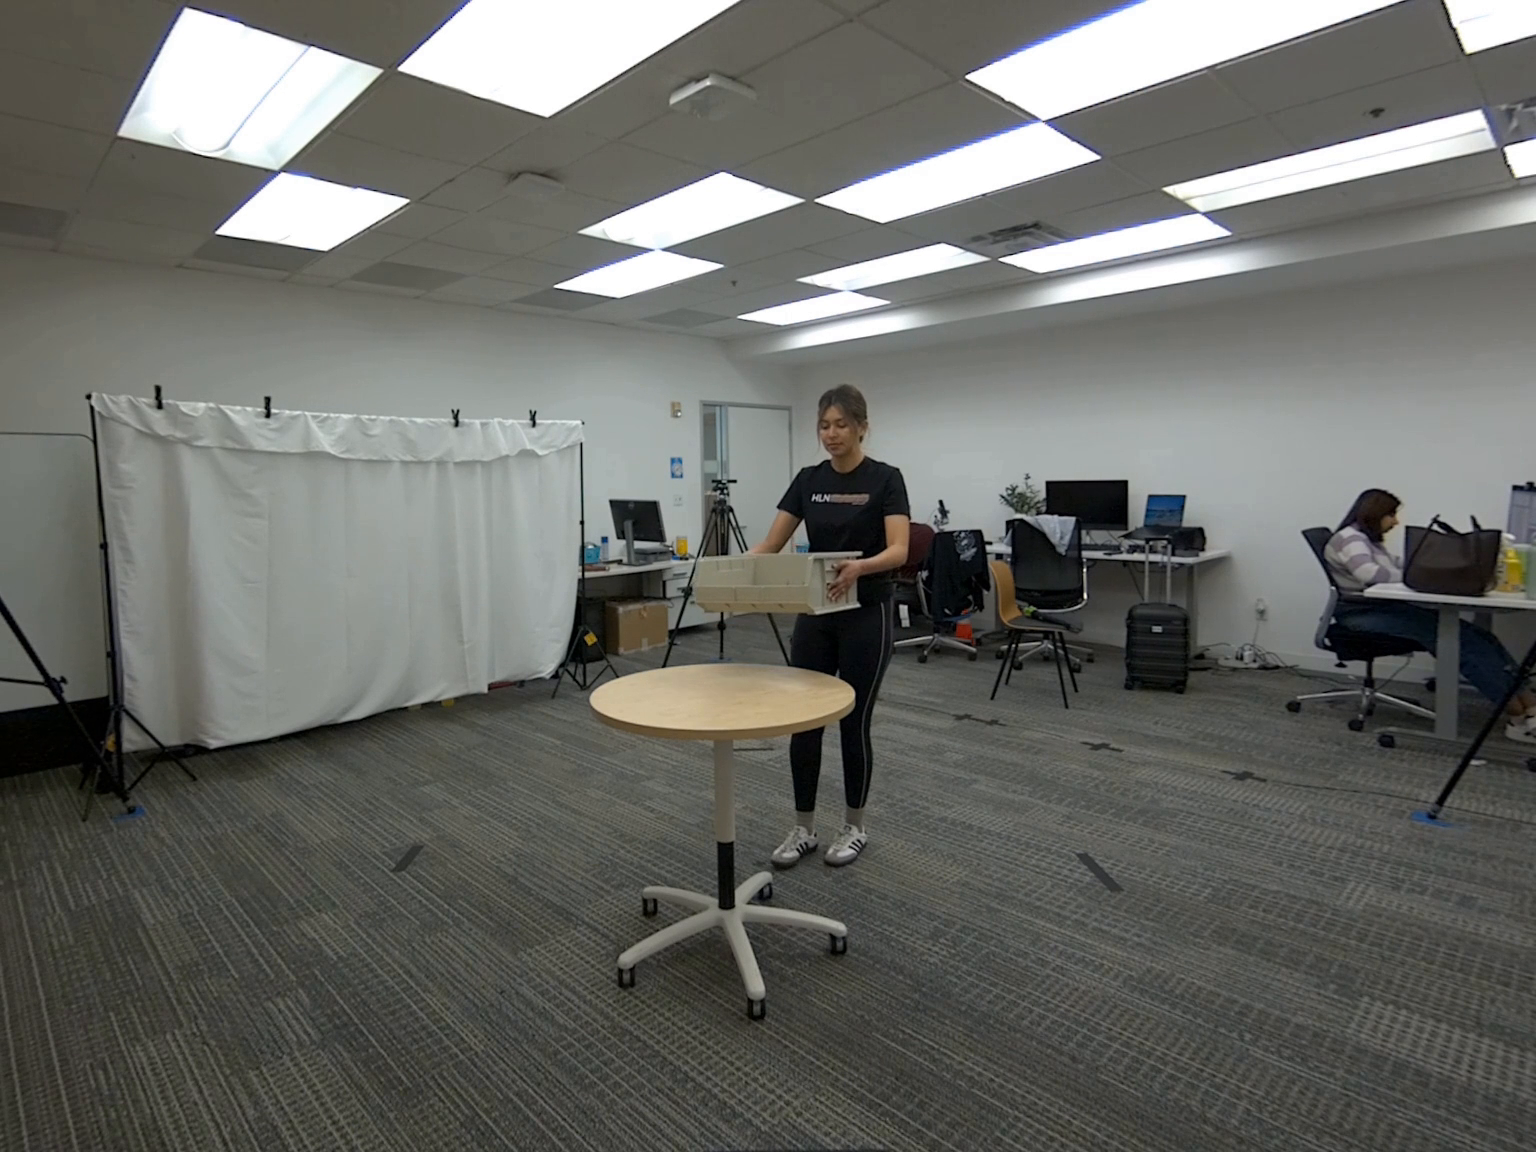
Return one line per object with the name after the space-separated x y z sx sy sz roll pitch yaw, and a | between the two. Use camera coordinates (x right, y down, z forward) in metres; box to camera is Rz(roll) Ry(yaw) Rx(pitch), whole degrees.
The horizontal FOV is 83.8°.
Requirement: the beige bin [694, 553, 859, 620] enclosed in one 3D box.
0.046 0.030 2.756 0.433 0.189 0.367 -2 0 31 | beige bin
